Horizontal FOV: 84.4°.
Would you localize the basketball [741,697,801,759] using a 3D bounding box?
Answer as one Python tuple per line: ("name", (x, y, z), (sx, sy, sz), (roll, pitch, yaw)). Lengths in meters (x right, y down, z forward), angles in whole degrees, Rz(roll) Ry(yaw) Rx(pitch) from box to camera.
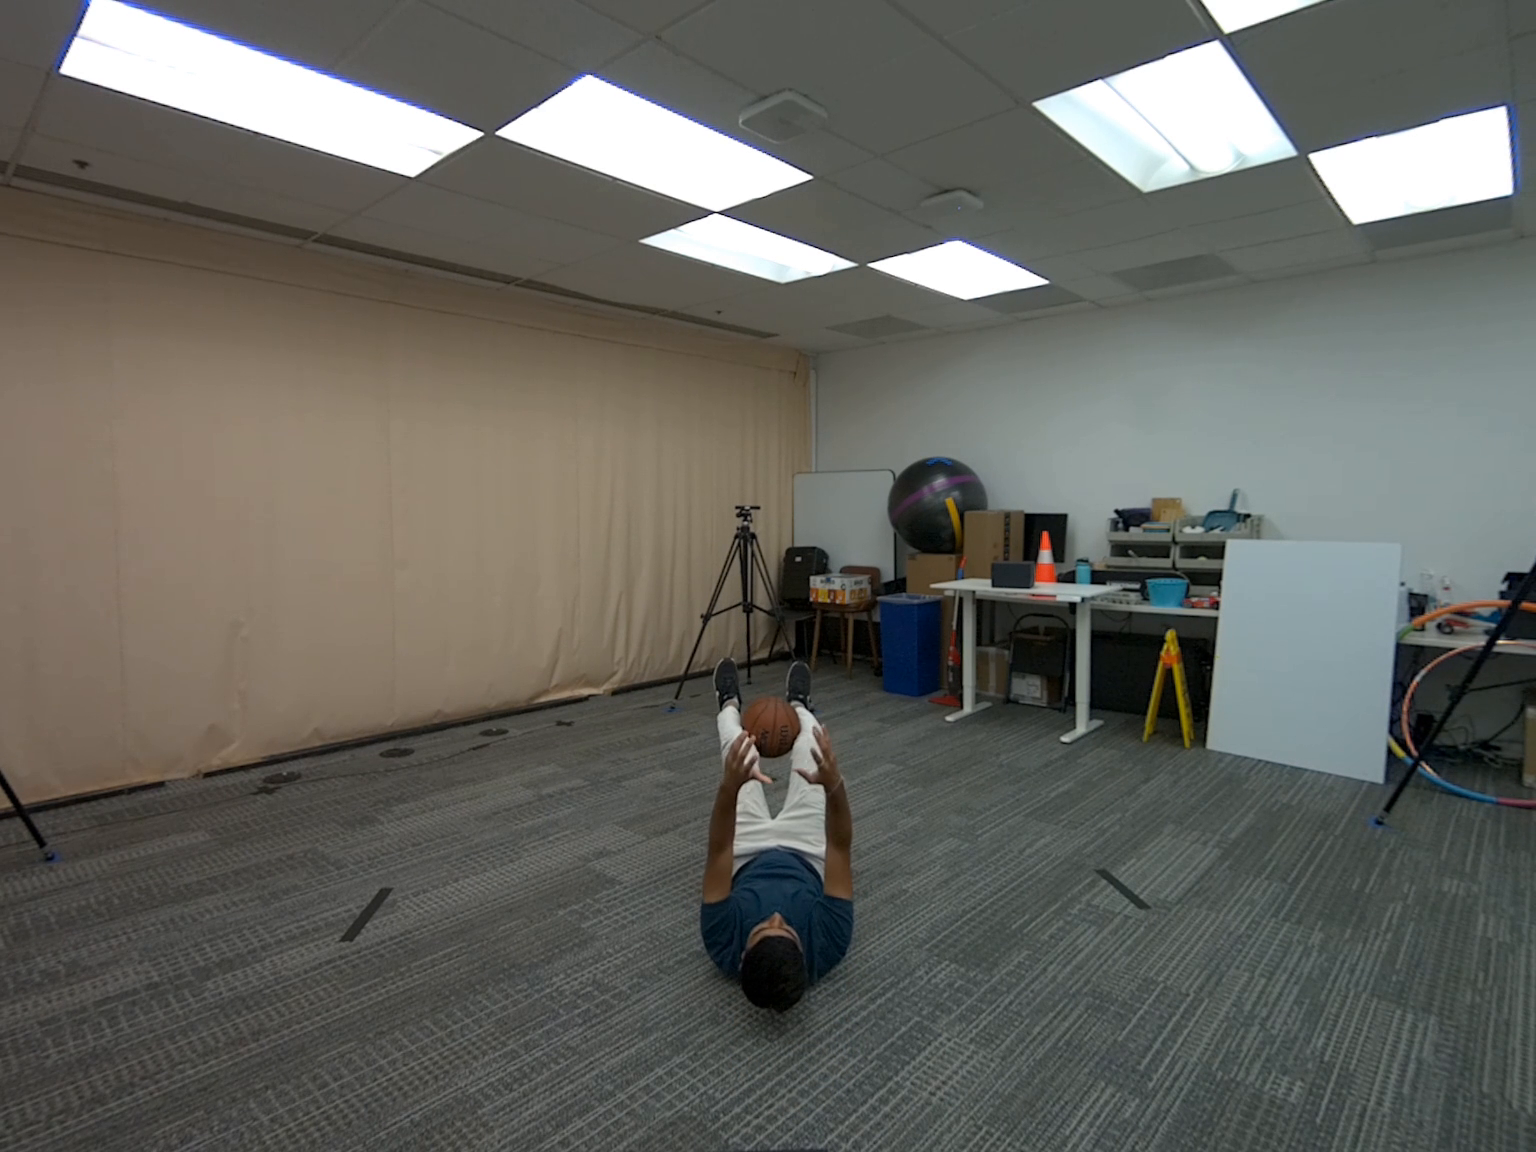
("basketball", (0.011, 0.593, 3.325), (0.236, 0.235, 0.237), (0, 4, -2))
